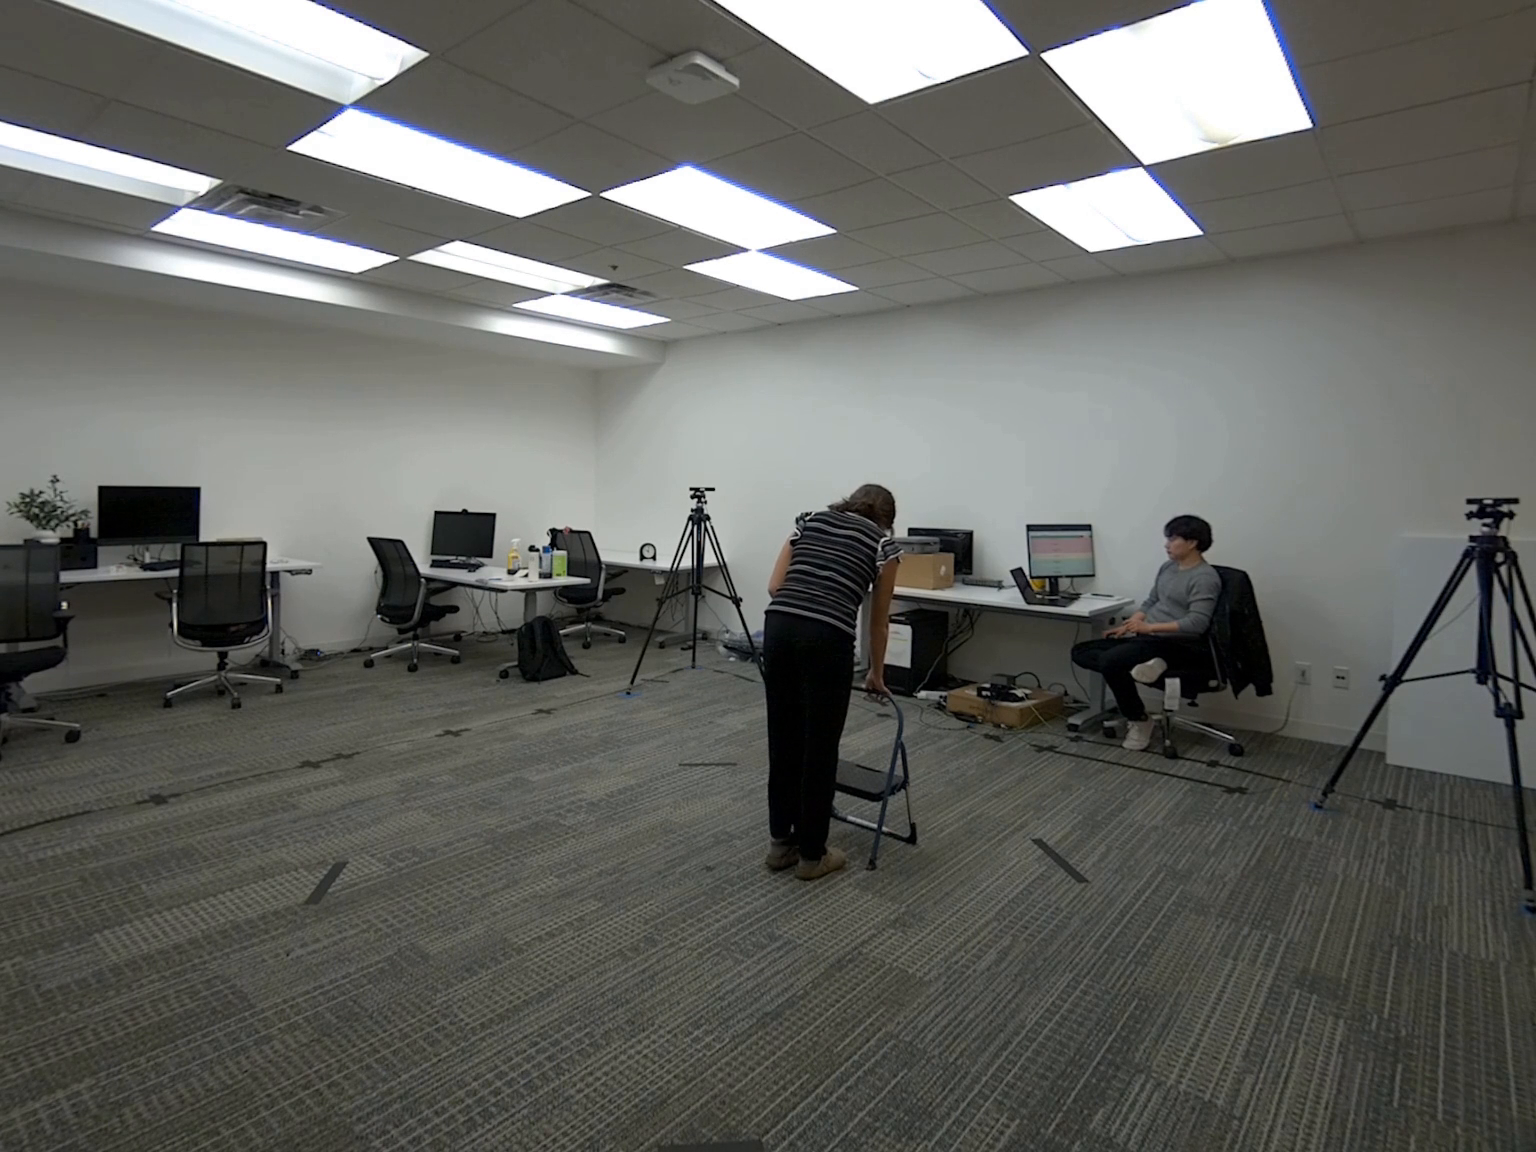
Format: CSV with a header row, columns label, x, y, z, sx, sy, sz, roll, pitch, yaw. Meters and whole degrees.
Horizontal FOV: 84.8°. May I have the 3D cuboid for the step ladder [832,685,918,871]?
label,x,y,z,sx,sy,sz,roll,pitch,yaw
step ladder,0.328,0.748,3.378,0.445,0.604,0.339,5,5,40
